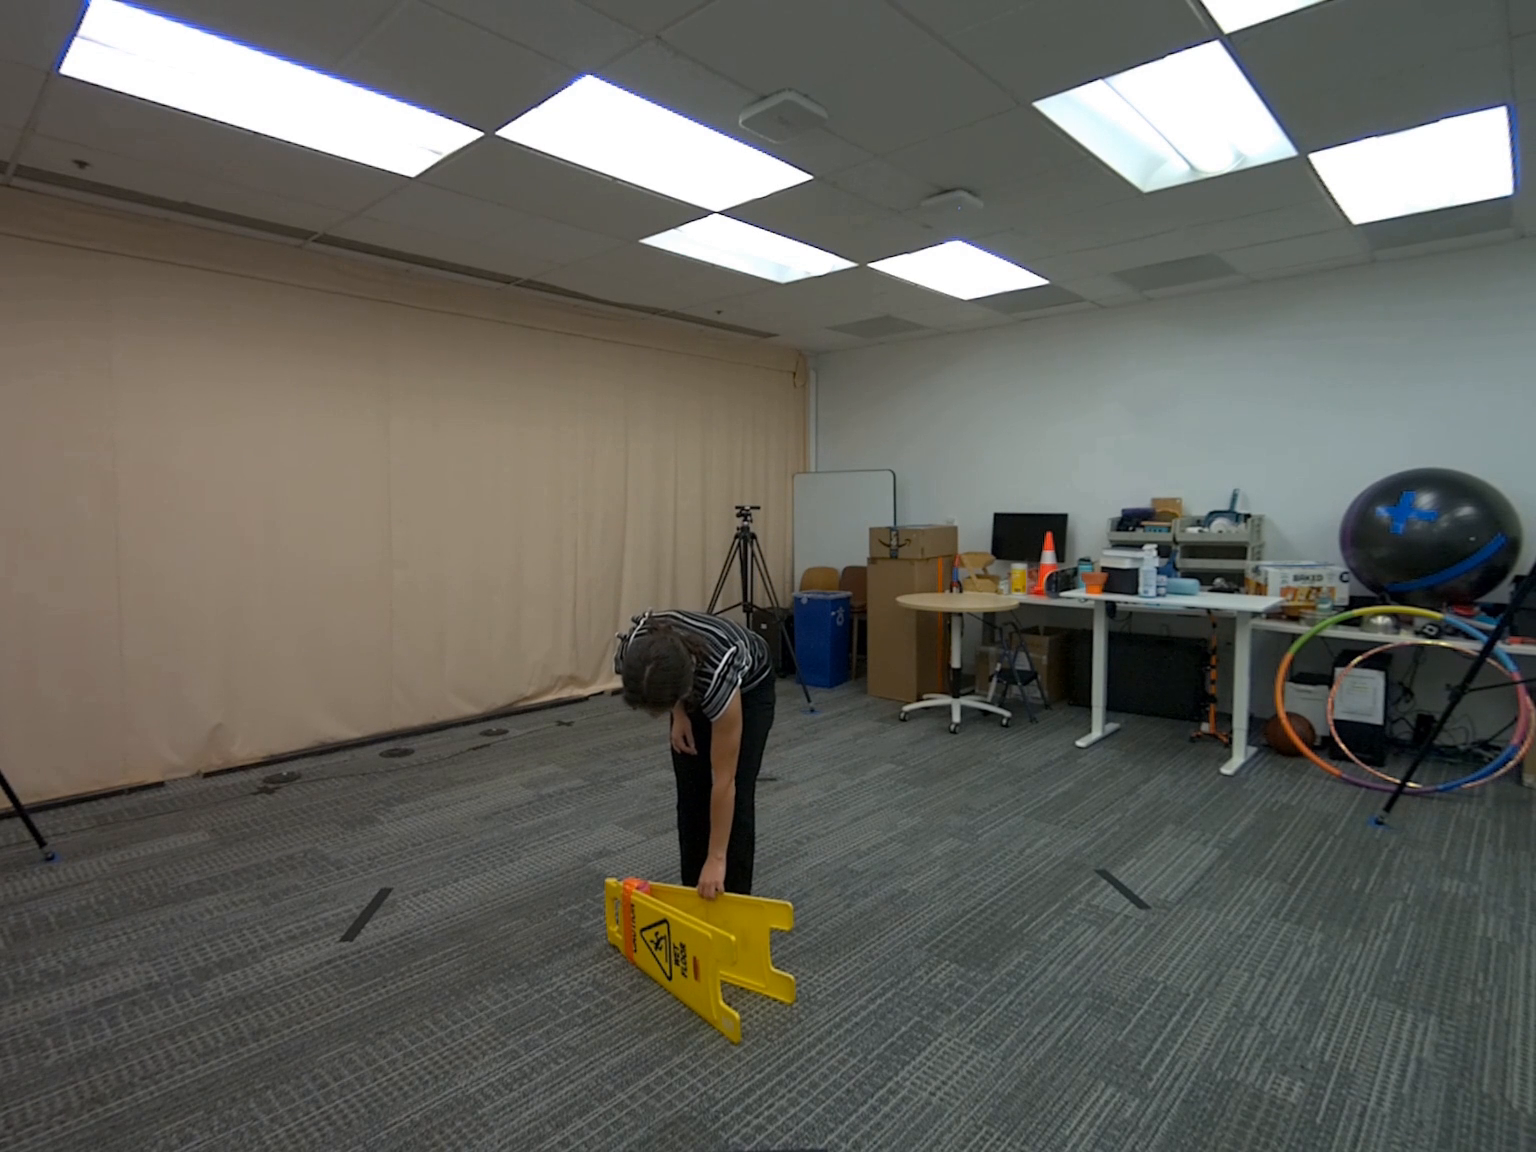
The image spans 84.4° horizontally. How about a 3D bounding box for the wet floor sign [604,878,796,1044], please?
[{"bbox_3d":[-0.260,1.064,2.470,0.666,0.282,0.281,-1,3,39],"label":"wet floor sign"}]
